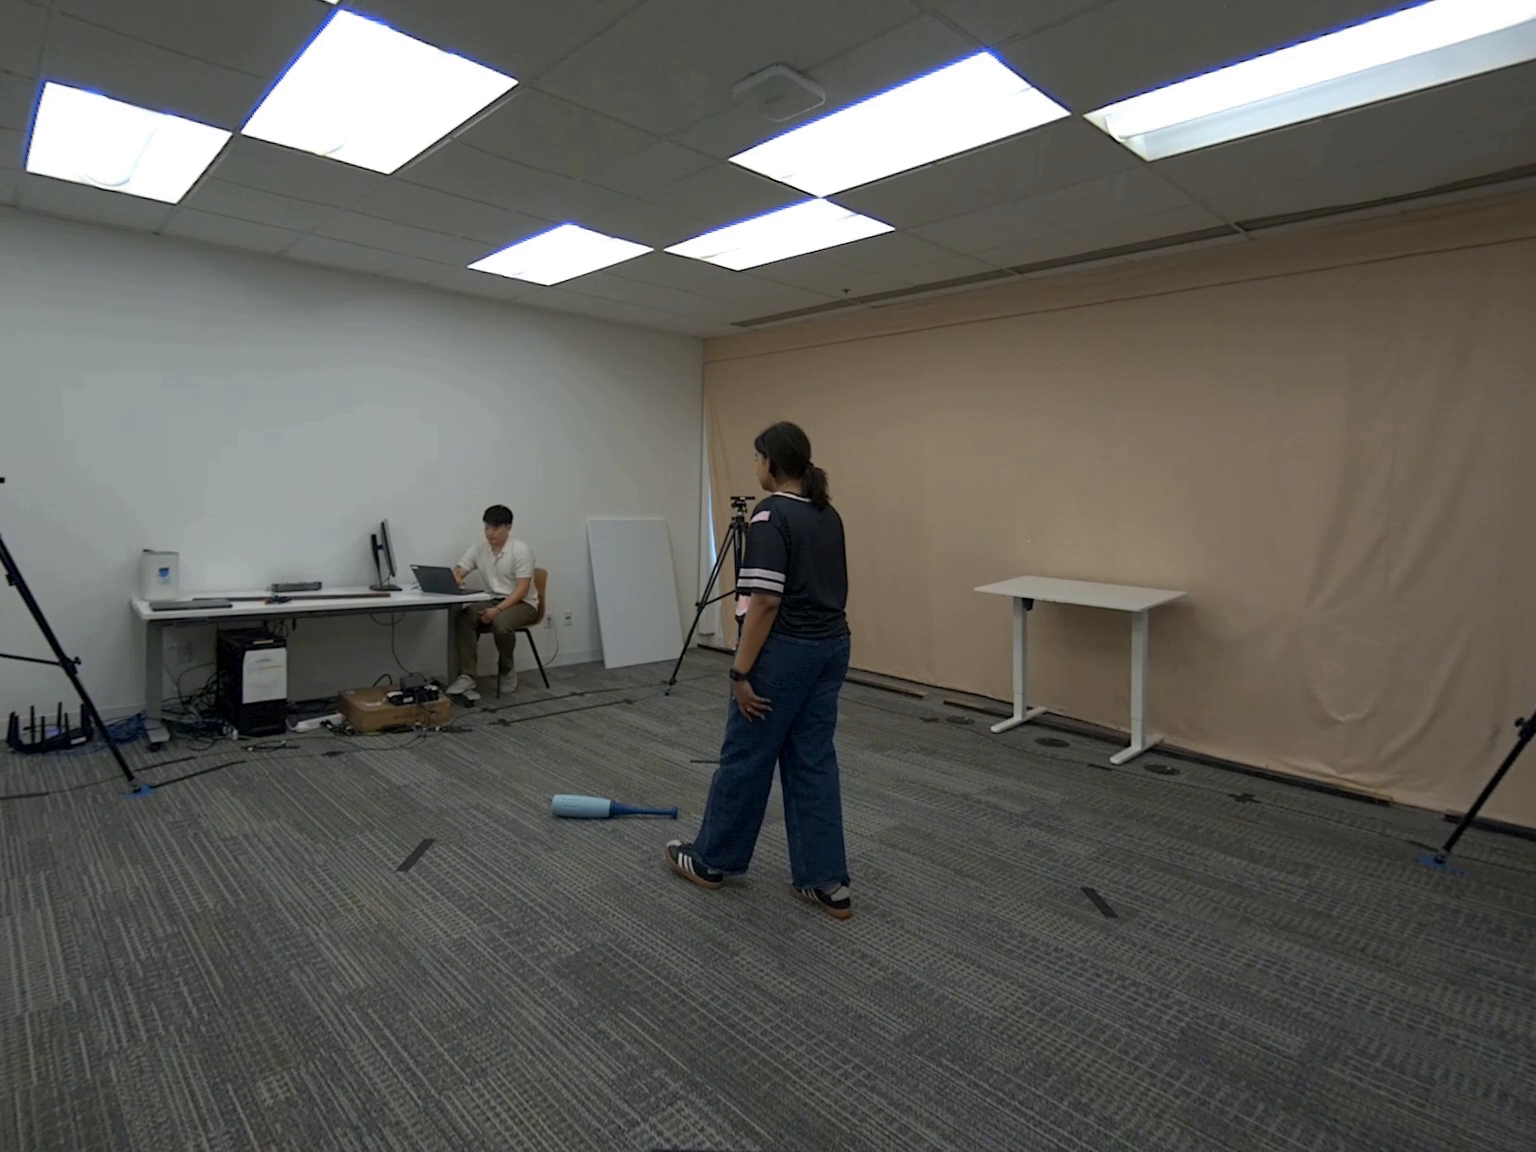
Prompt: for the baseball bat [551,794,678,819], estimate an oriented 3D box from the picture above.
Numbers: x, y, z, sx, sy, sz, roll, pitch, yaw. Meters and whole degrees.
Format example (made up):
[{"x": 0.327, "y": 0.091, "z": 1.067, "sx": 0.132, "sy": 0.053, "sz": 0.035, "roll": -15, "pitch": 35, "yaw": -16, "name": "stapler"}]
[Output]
[{"x": -0.670, "y": 1.010, "z": 3.638, "sx": 0.542, "sy": 0.089, "sz": 0.089, "roll": 5, "pitch": 4, "yaw": -2, "name": "baseball bat"}]
